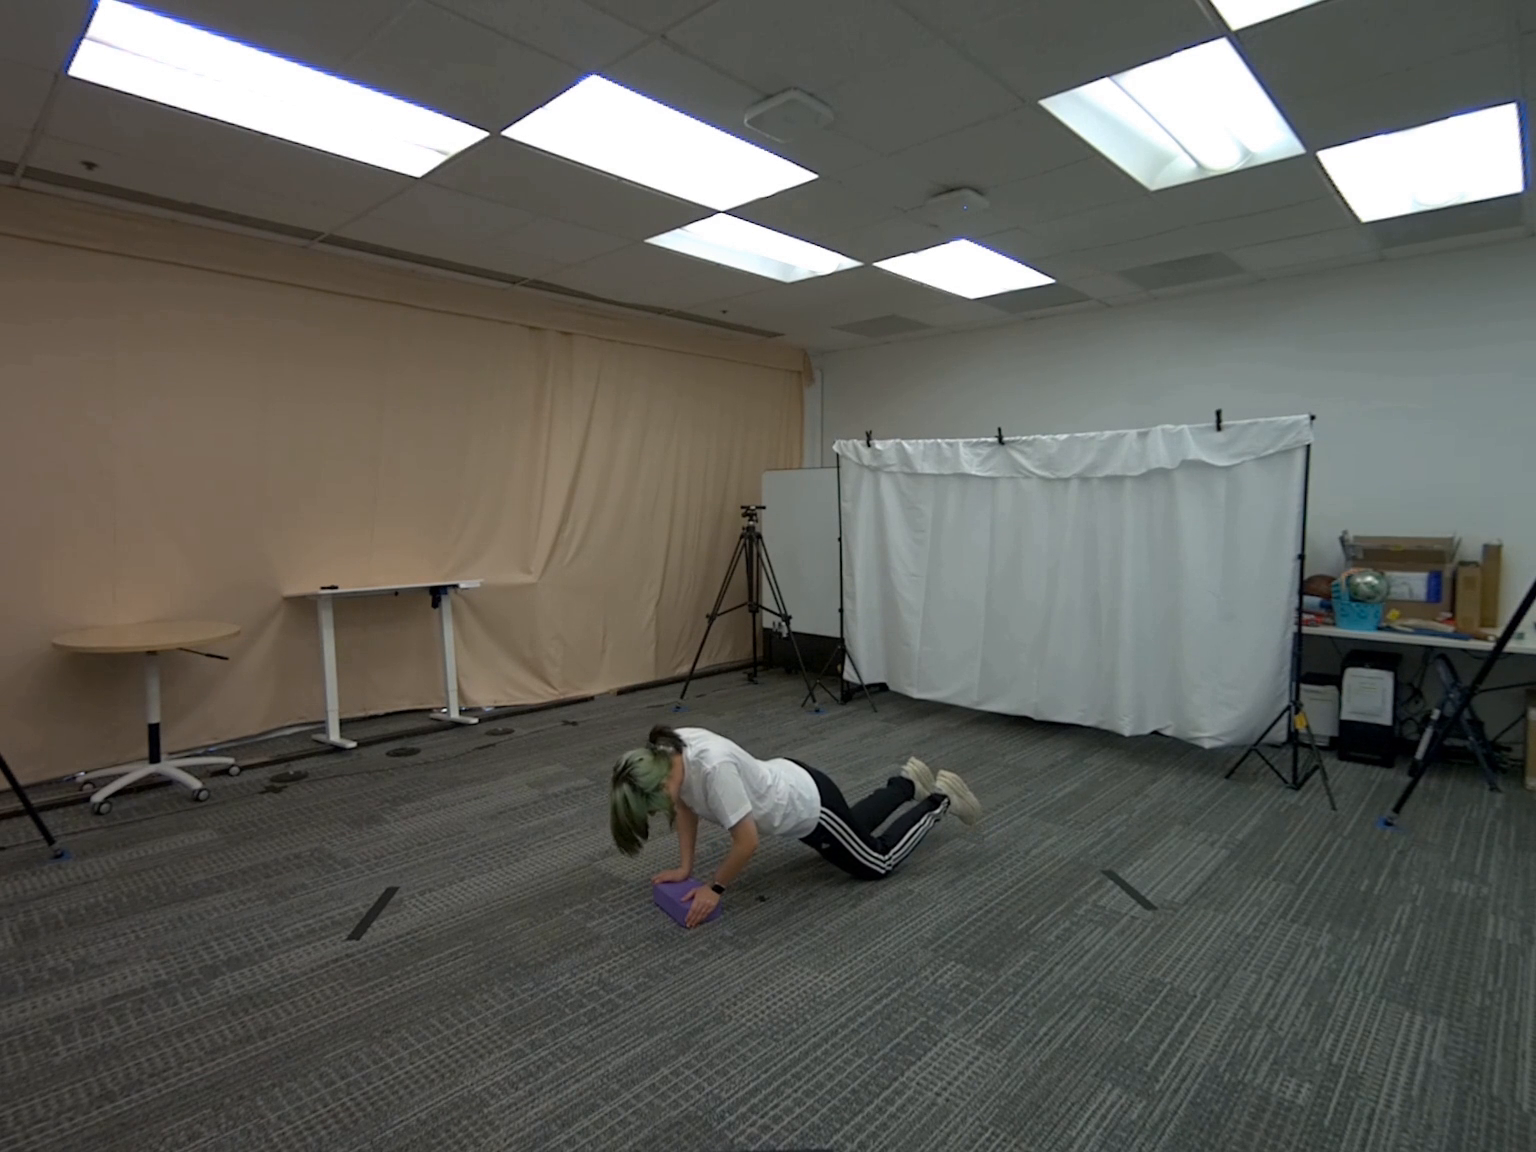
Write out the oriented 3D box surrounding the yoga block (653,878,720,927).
[{"bbox_3d":[-0.277,1.118,2.905,0.145,0.076,0.236,-6,7,-34],"label":"yoga block"}]
